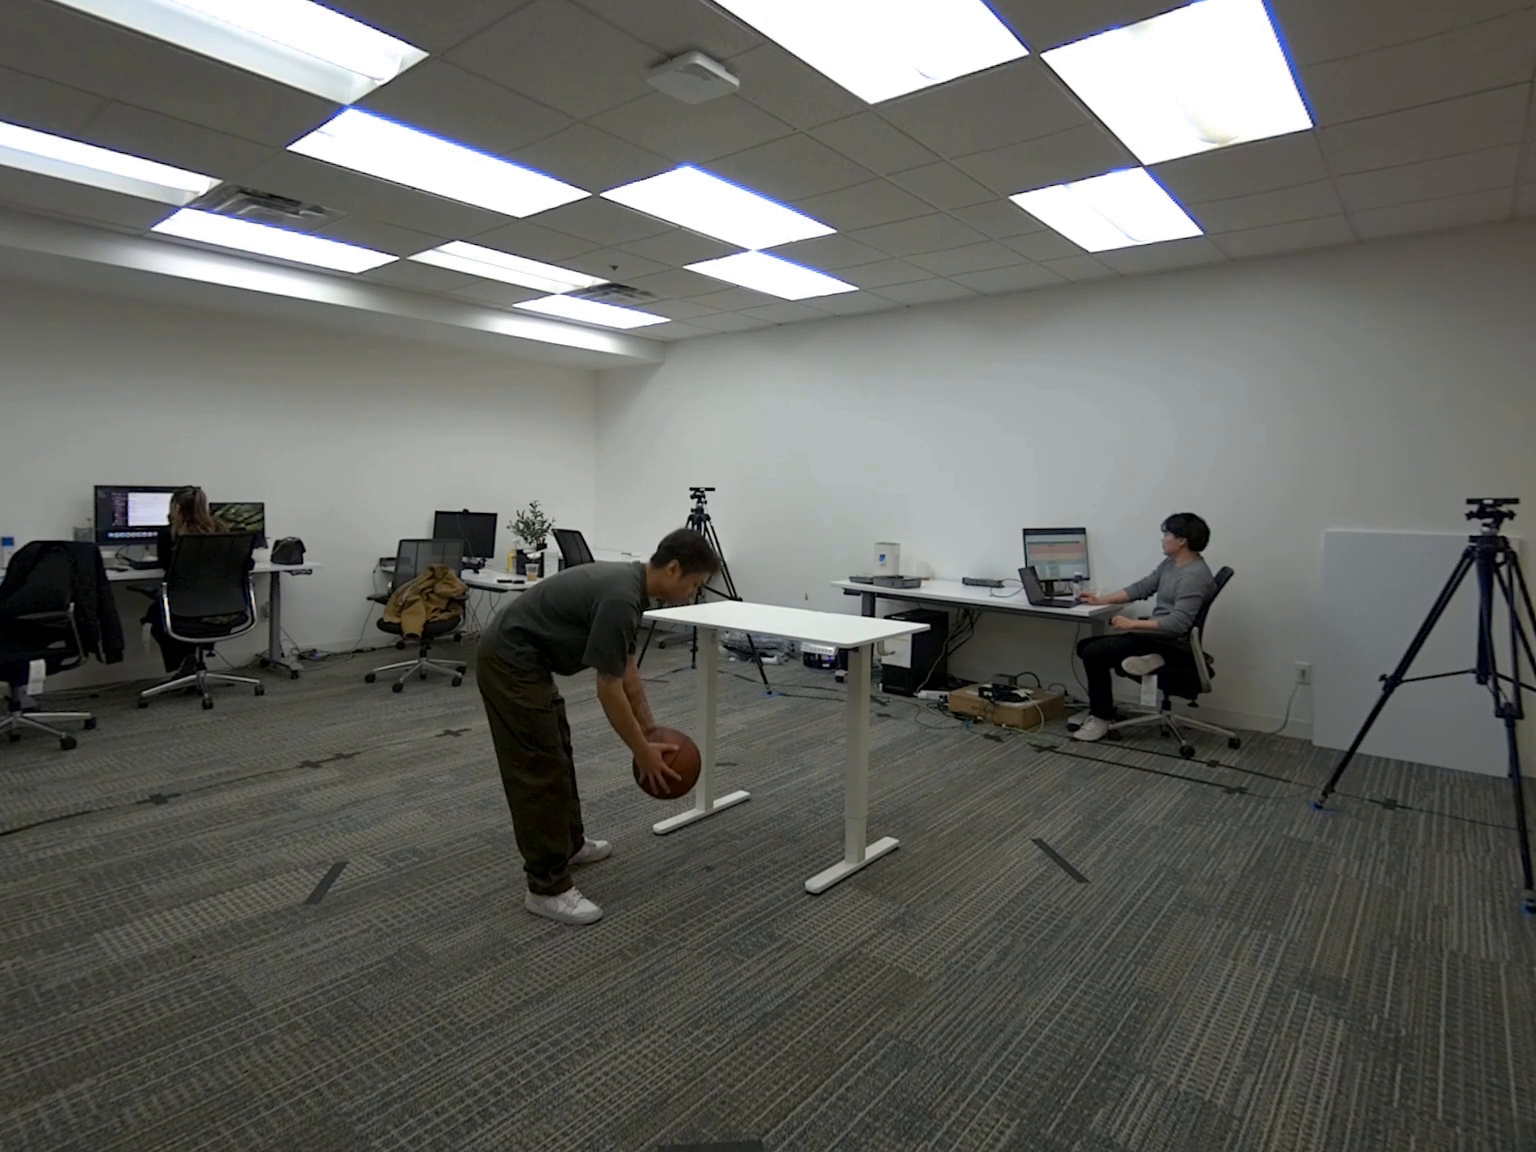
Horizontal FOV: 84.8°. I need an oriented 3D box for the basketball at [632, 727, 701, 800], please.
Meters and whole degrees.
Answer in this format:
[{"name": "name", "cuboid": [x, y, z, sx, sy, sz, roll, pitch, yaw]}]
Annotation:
[{"name": "basketball", "cuboid": [-0.360, 0.635, 2.938, 0.235, 0.235, 0.237, 1, 4, -2]}]
